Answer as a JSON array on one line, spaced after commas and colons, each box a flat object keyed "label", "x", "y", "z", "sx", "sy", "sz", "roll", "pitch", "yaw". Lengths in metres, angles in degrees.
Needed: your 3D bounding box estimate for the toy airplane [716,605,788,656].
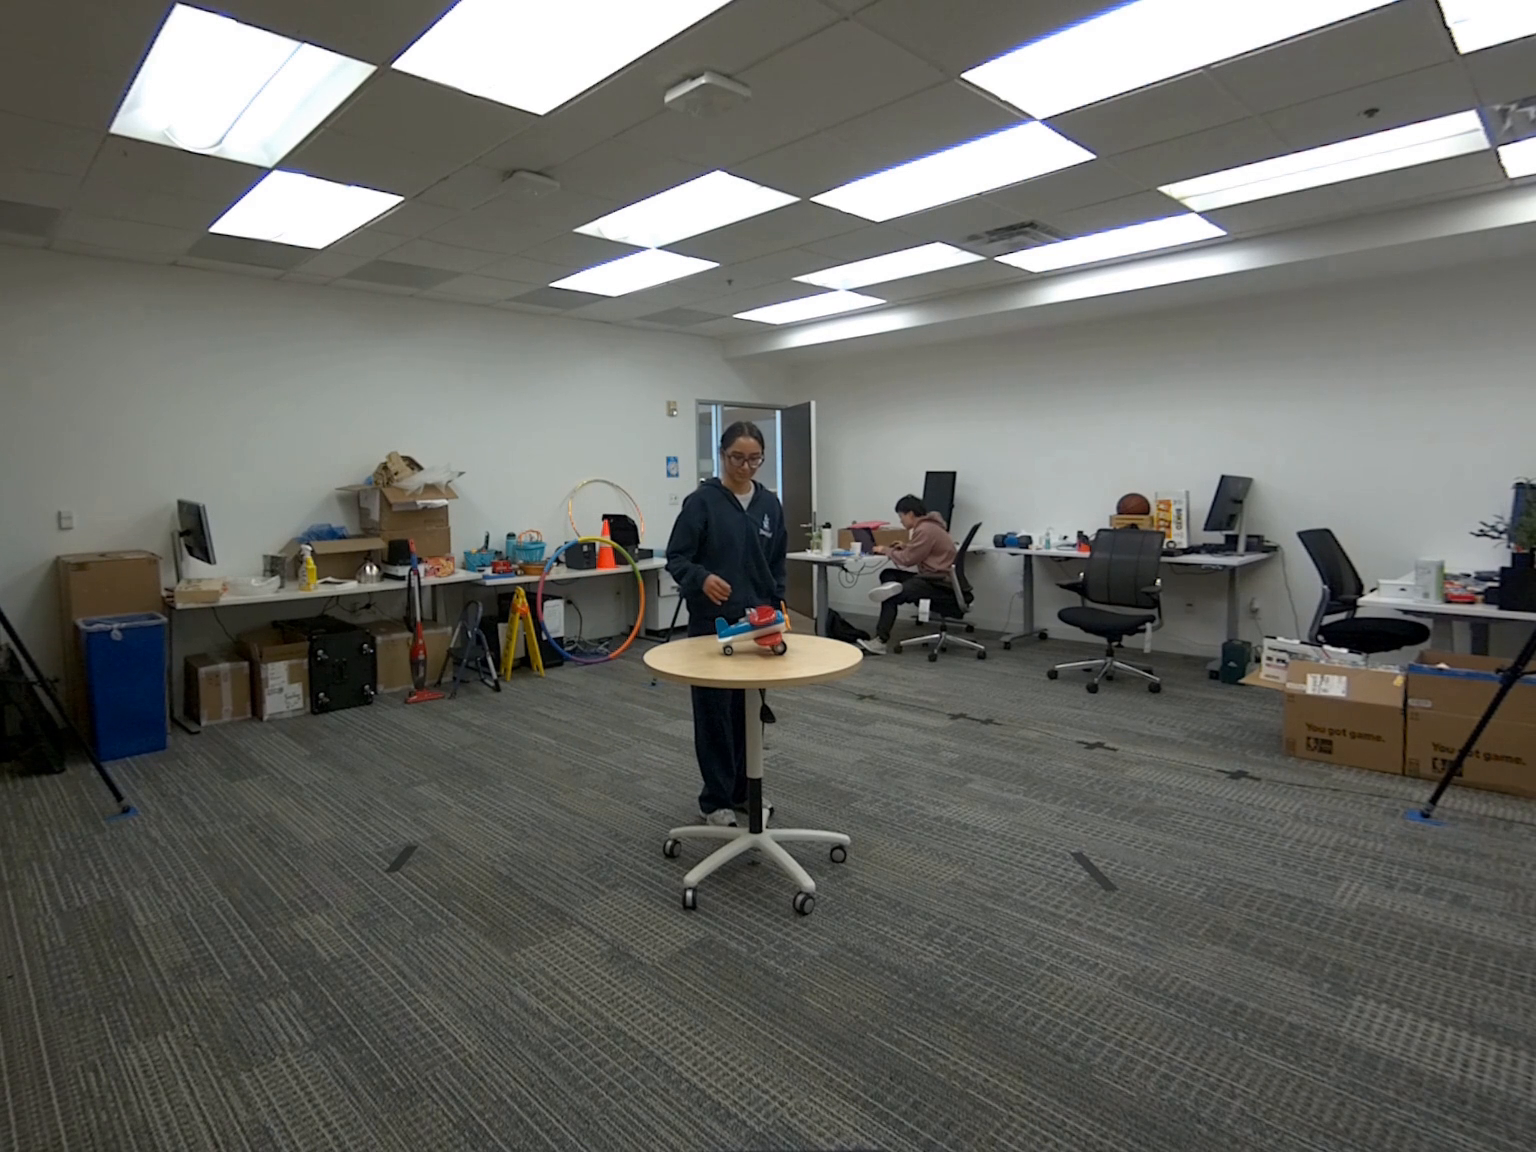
[{"label": "toy airplane", "x": -0.054, "y": 0.203, "z": 2.988, "sx": 0.253, "sy": 0.155, "sz": 0.258, "roll": -5, "pitch": 8, "yaw": -30}]
